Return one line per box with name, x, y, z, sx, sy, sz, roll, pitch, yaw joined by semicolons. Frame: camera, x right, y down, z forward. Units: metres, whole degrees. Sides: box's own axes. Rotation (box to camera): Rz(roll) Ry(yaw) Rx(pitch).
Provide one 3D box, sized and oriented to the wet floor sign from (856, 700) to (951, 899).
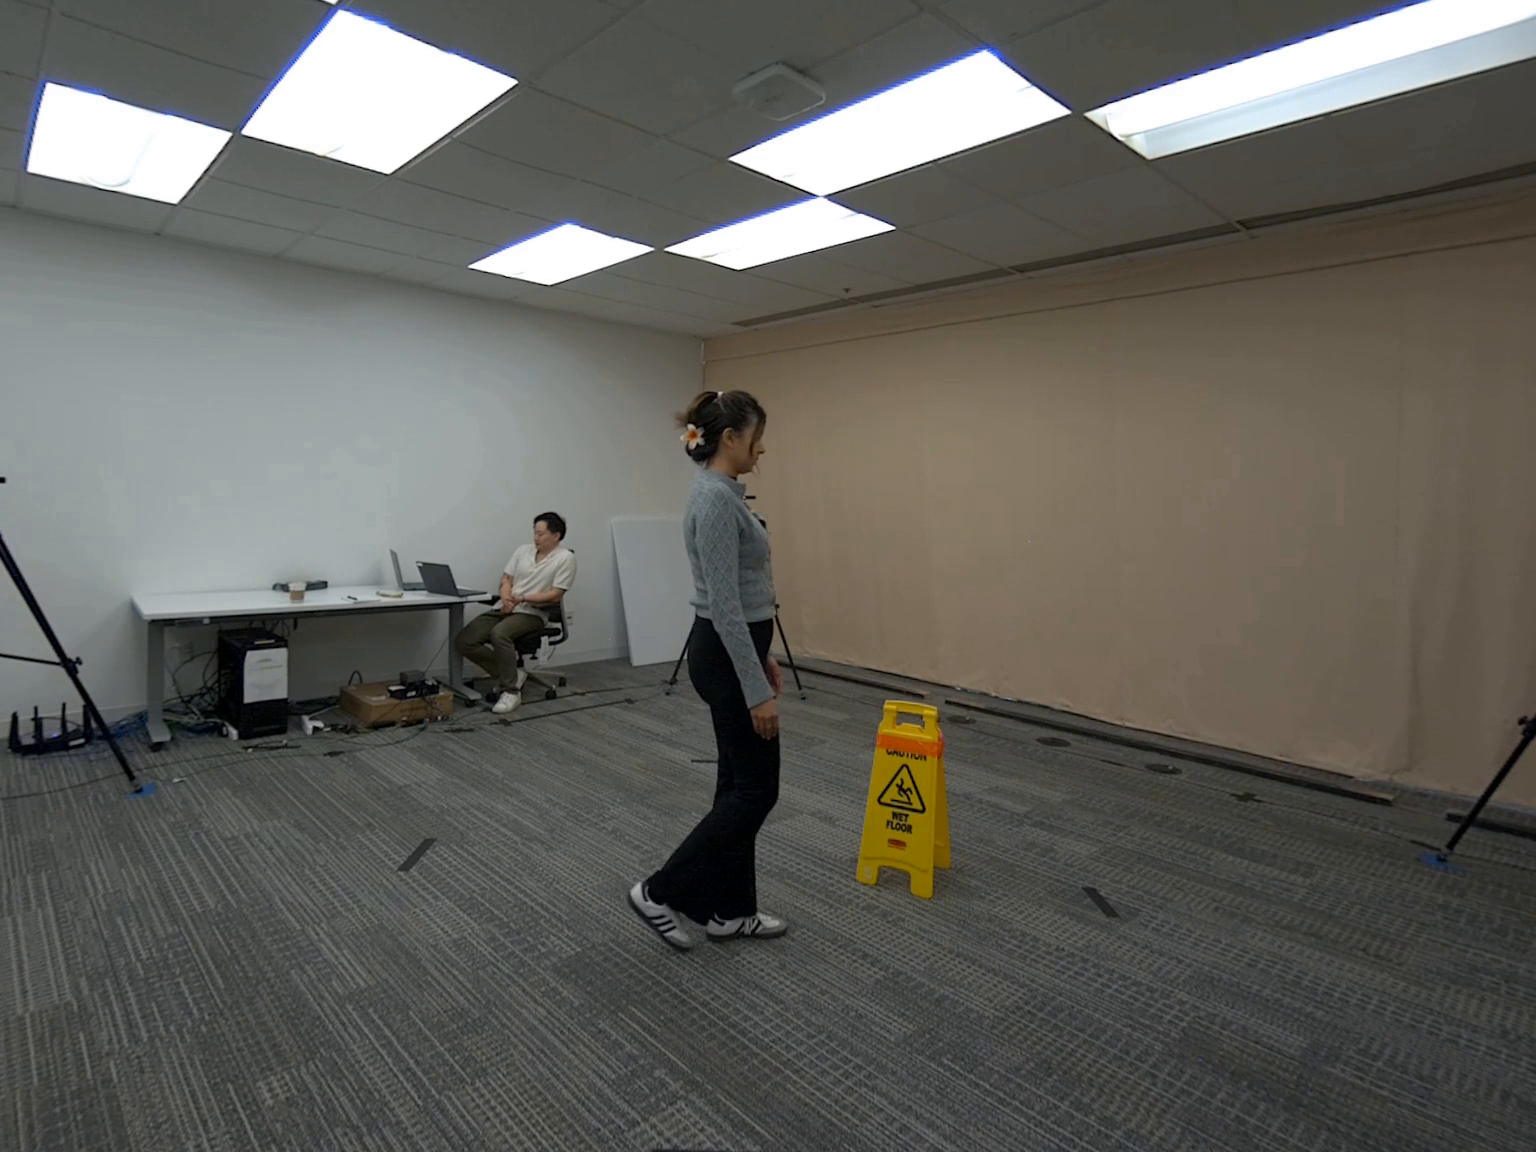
wet floor sign;0.514;0.793;3.129;0.288;0.645;0.284;4;3;25
